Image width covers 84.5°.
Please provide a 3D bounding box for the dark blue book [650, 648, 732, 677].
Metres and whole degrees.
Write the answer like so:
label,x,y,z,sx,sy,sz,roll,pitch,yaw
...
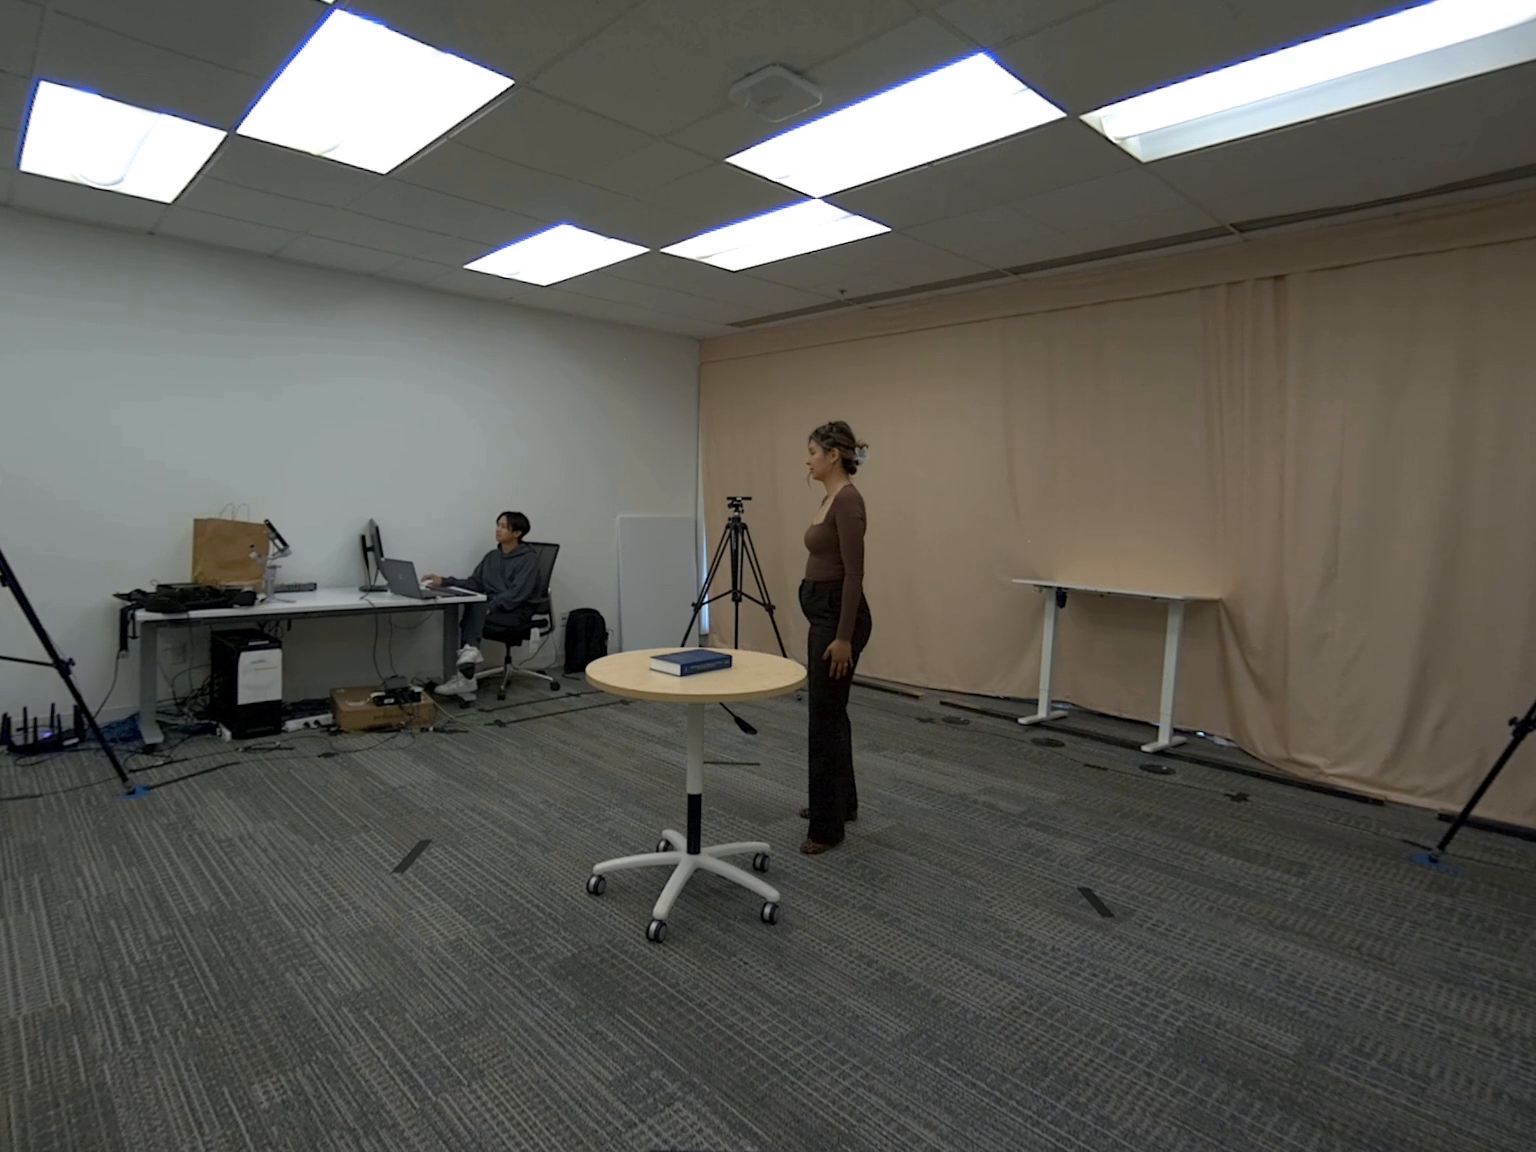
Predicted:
label,x,y,z,sx,sy,sz,roll,pitch,yaw
dark blue book,-0.274,0.301,2.921,0.167,0.045,0.240,6,8,43
